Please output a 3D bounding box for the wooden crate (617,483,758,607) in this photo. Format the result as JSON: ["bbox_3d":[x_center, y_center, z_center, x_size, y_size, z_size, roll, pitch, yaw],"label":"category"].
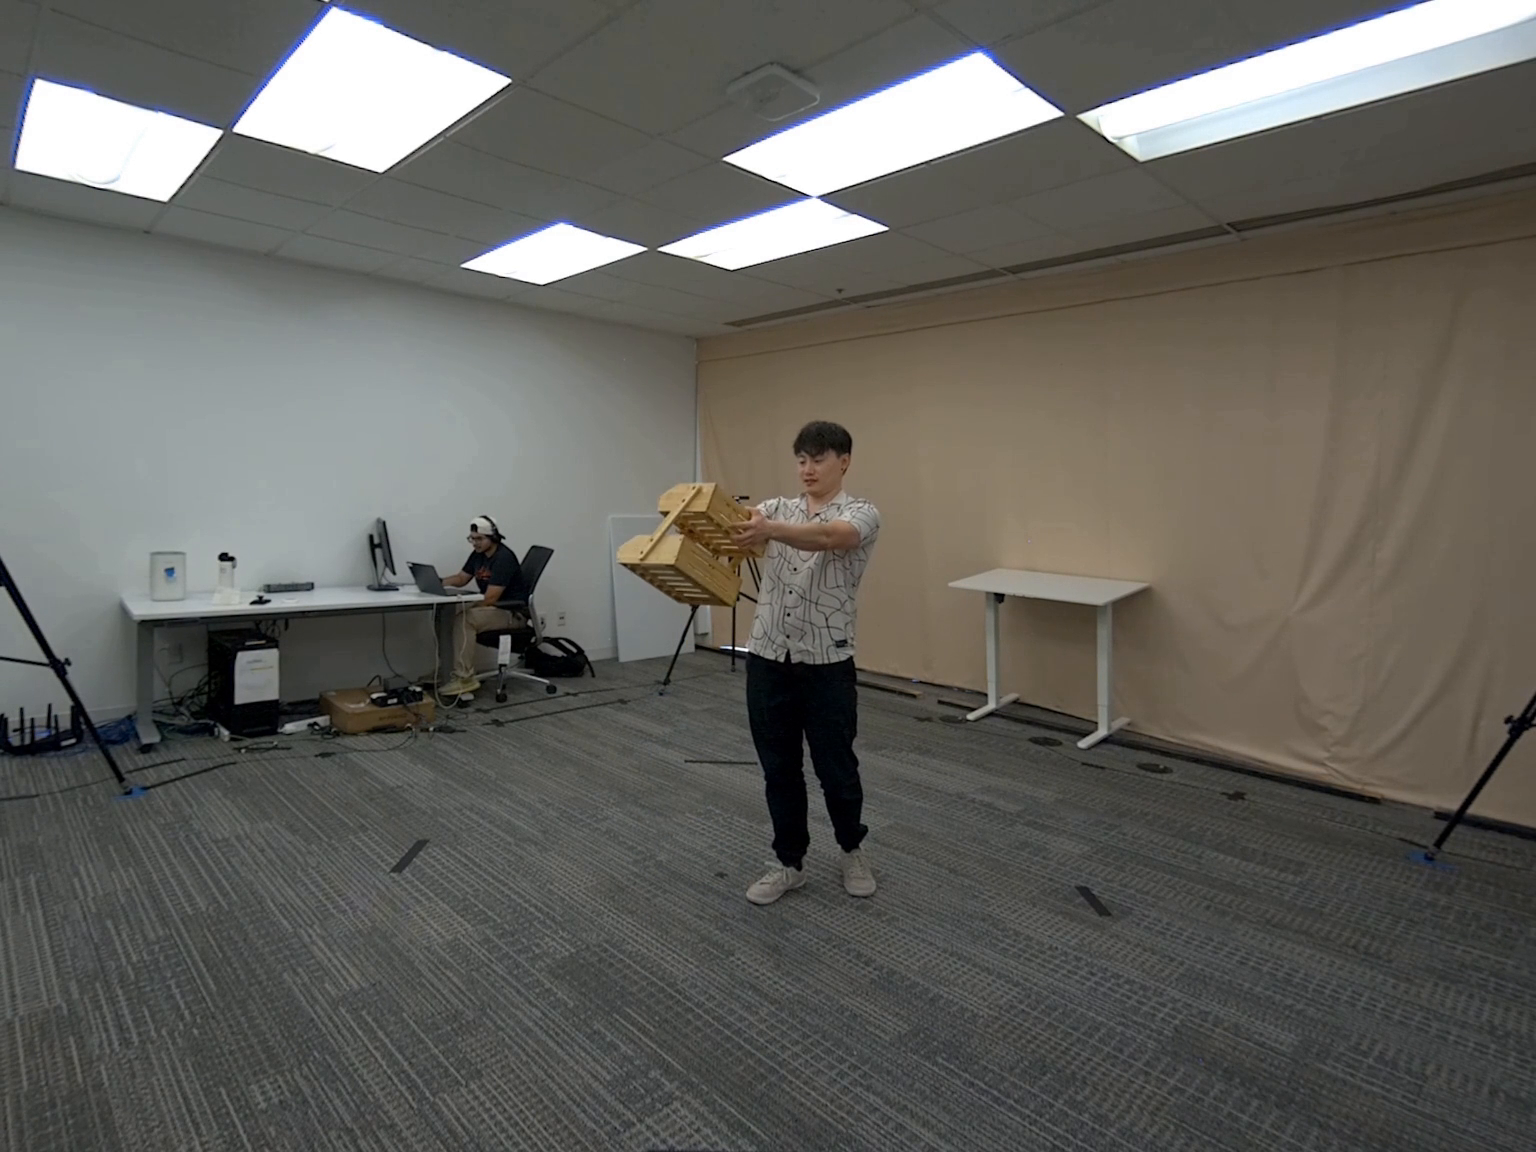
[{"bbox_3d":[-0.228,-0.094,2.543,0.309,0.276,0.314,2,-25,38],"label":"wooden crate"}]
